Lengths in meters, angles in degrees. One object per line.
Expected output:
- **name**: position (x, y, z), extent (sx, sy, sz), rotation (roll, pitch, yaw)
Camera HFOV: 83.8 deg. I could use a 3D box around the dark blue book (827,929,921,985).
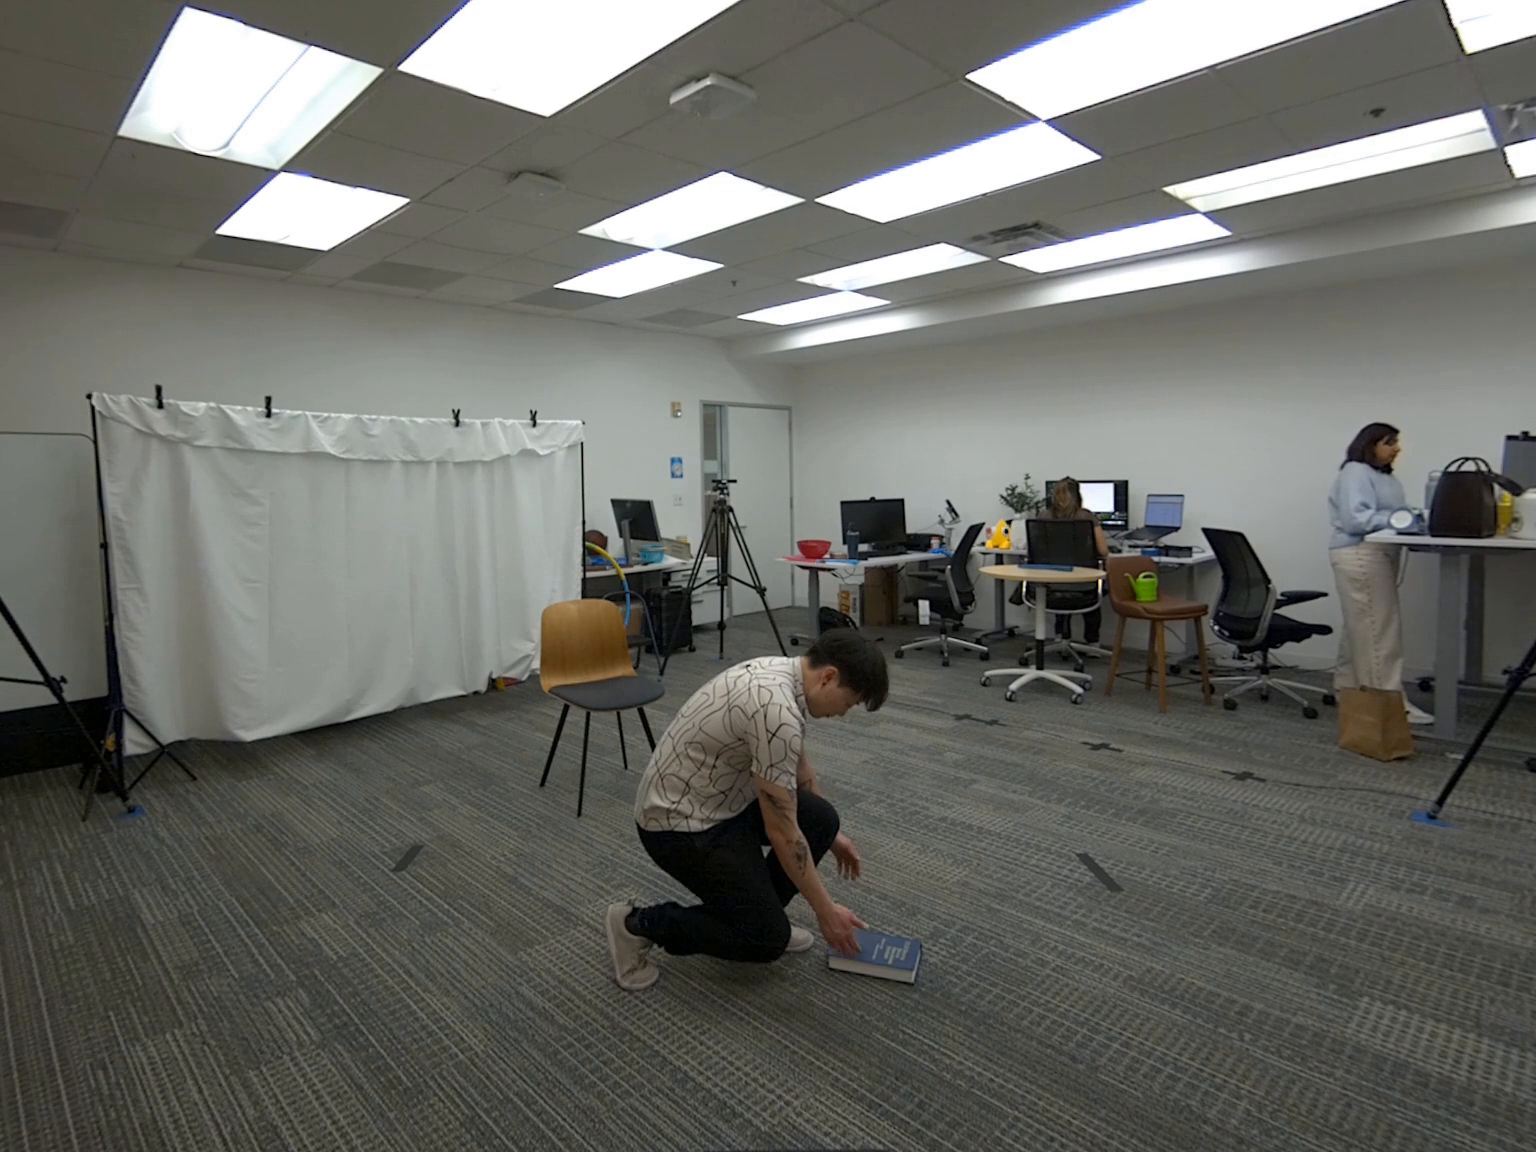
- **dark blue book**: position (0.310, 1.084, 2.461), extent (0.250, 0.045, 0.161), rotation (2, 8, 19)
